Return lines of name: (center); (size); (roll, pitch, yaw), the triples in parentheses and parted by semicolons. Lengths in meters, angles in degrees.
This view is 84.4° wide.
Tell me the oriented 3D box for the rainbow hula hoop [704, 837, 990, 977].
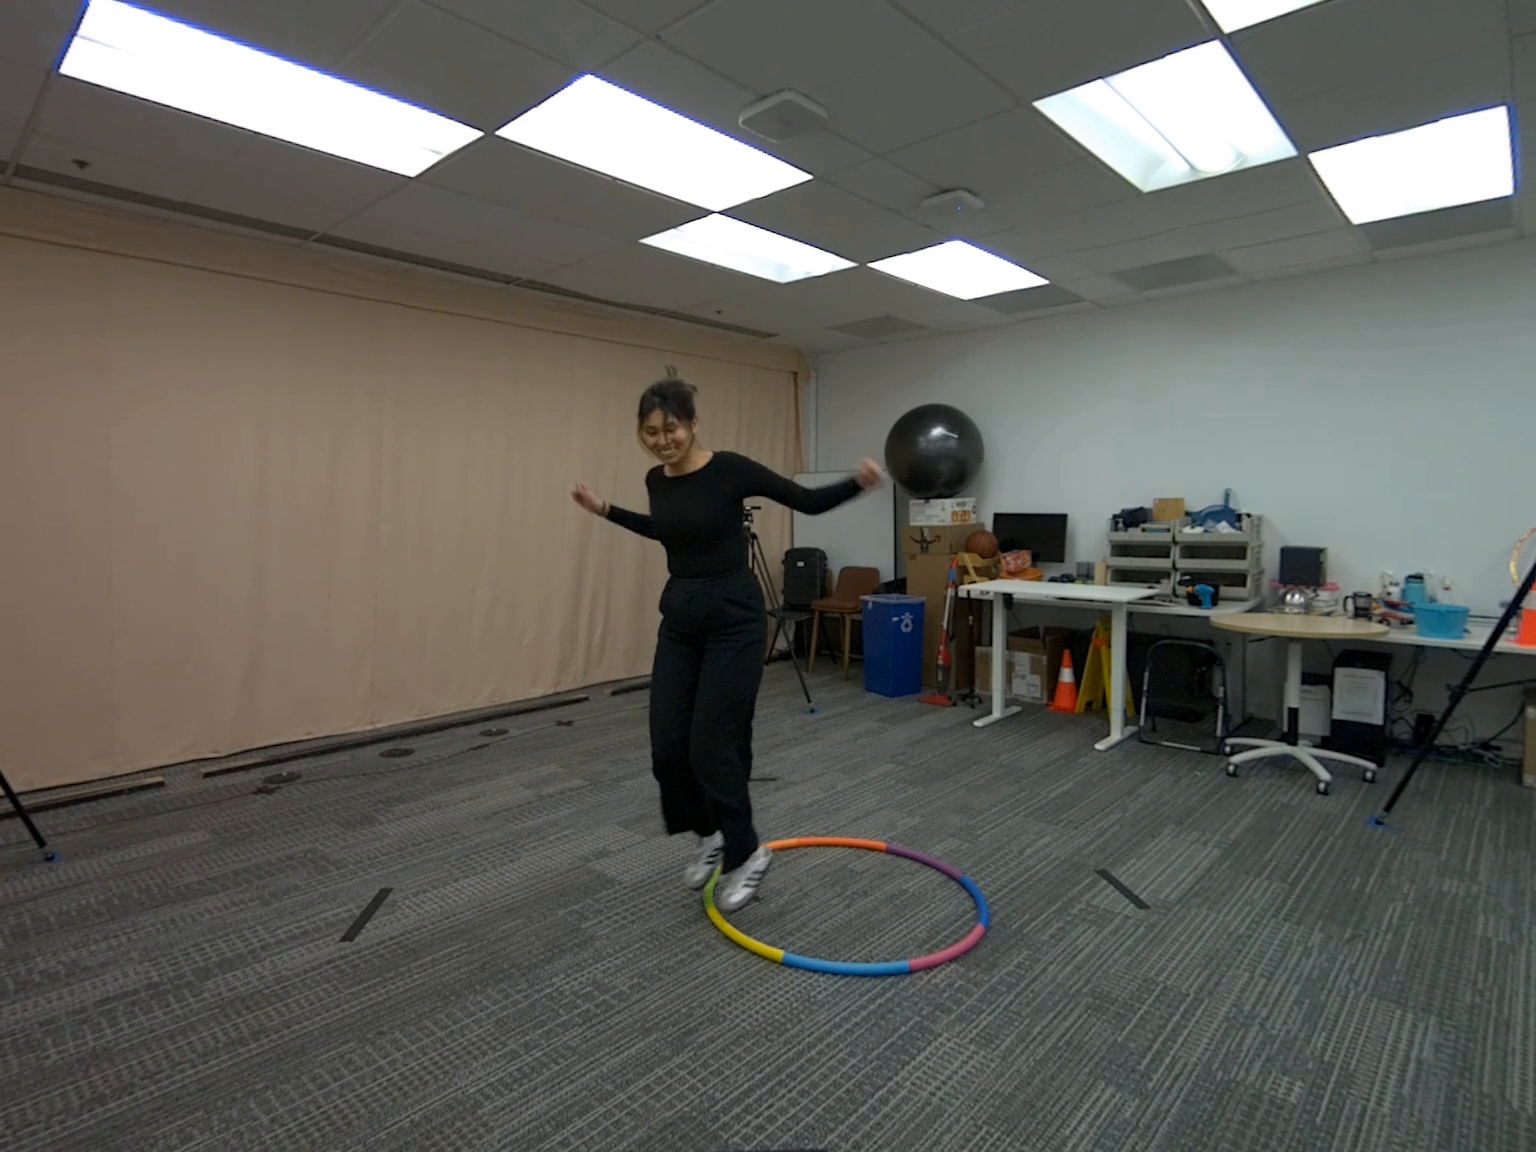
rainbow hula hoop: (0.264, 1.116, 2.970); (0.978, 0.035, 0.982); (0, 5, -2)
